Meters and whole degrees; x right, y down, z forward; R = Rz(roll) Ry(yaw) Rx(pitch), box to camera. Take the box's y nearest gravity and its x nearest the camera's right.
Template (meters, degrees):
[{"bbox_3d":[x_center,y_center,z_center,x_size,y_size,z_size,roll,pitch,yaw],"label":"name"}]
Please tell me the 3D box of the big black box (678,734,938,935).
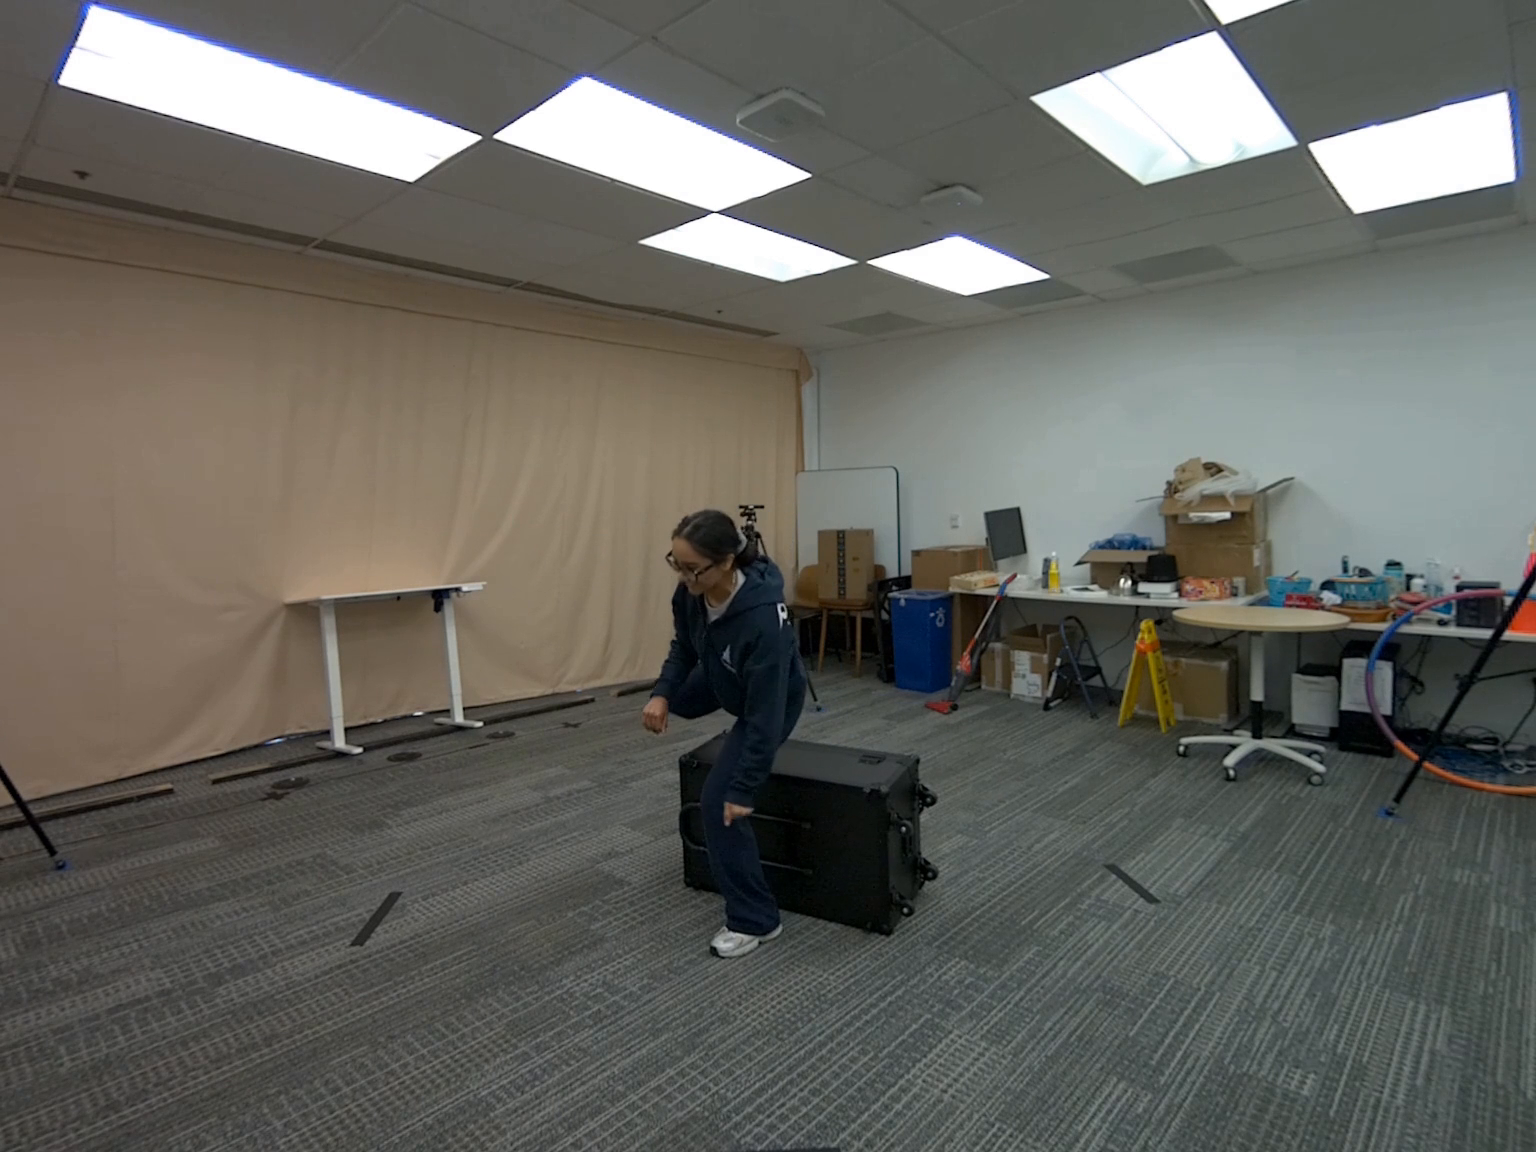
[{"bbox_3d":[0.136,0.883,2.996,0.885,0.519,0.387,1,7,28],"label":"big black box"}]
